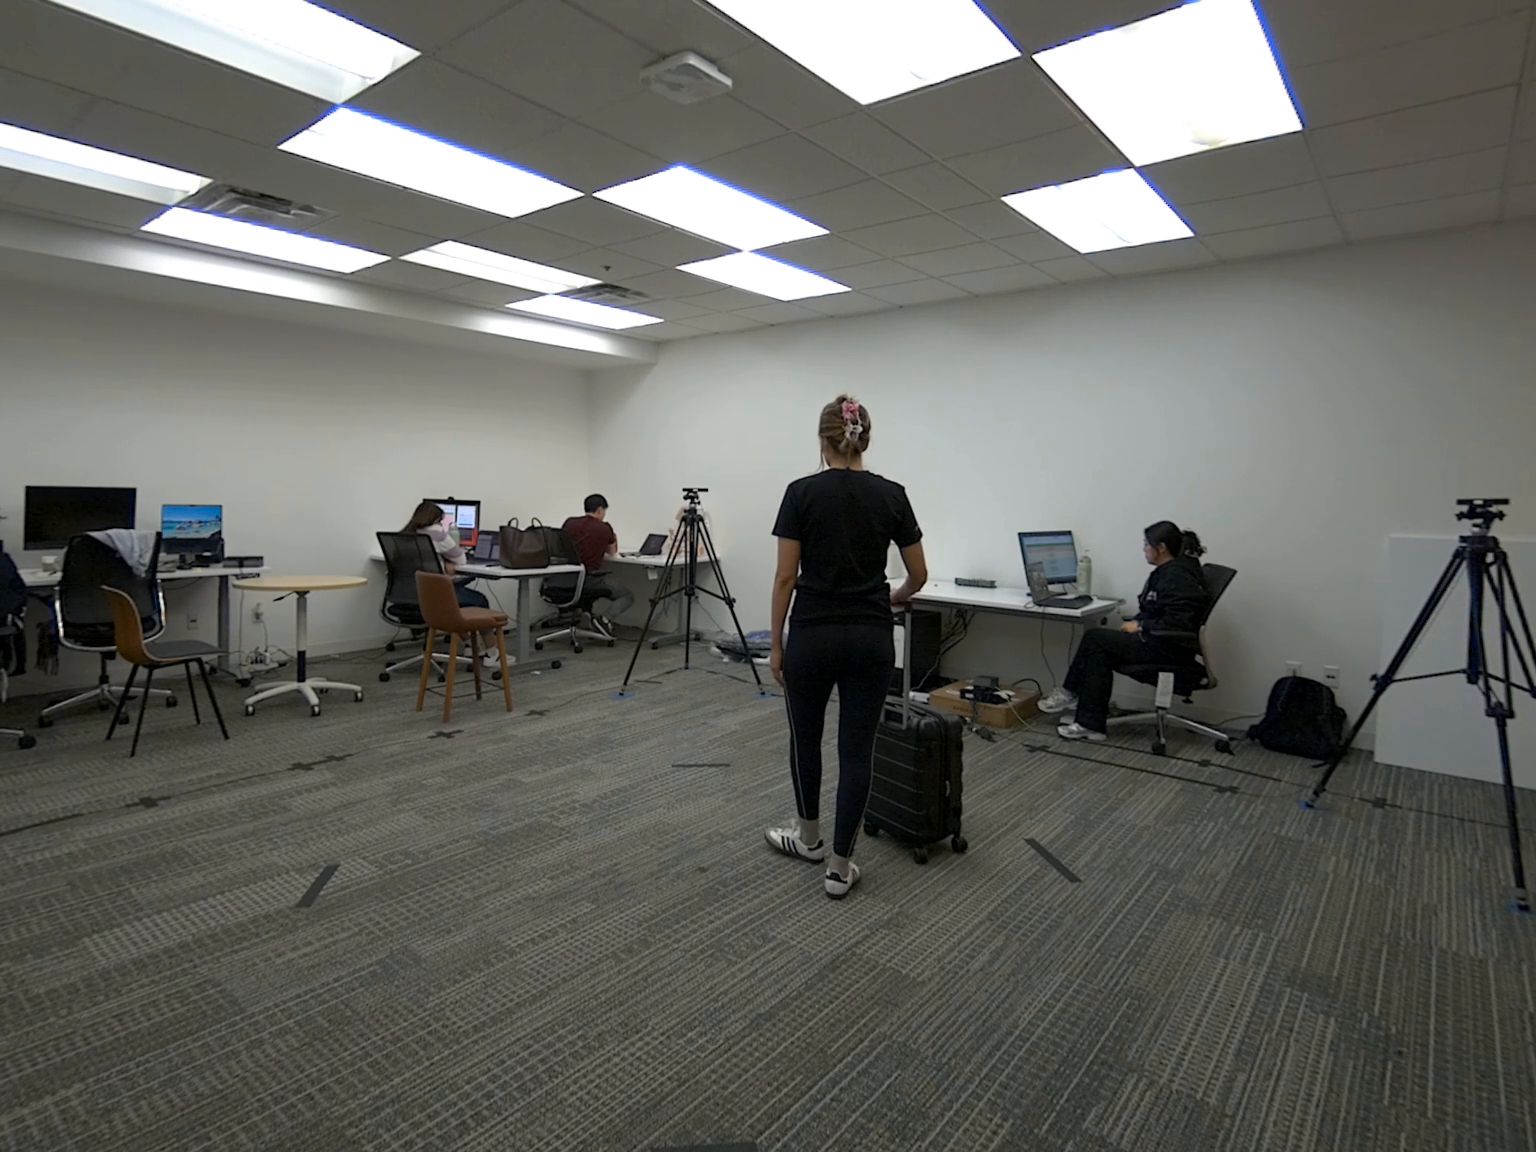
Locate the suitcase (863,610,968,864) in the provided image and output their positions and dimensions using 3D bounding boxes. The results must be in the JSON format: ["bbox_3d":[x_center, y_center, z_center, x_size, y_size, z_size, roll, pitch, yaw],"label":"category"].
[{"bbox_3d":[0.575,0.579,3.395,0.250,0.978,0.395,1,1,-30],"label":"suitcase"}]
